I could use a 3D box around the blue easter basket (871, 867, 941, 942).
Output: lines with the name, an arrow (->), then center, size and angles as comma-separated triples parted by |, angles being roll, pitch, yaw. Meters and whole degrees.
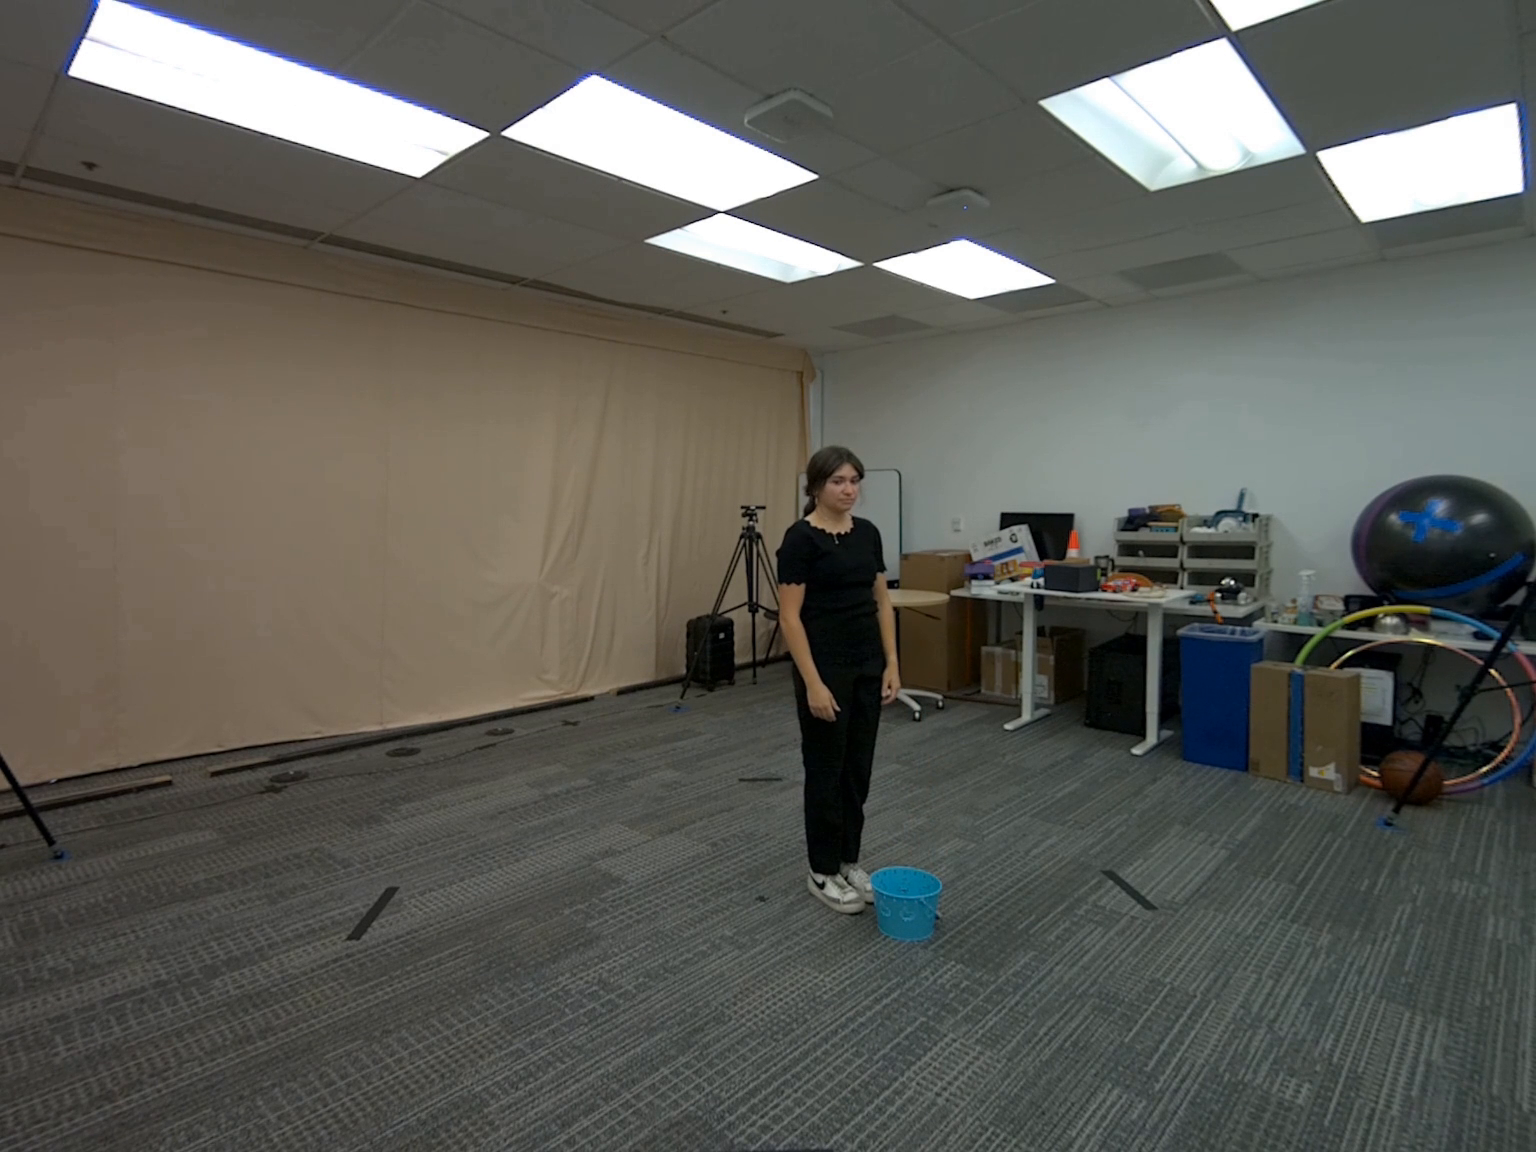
blue easter basket -> 0.460, 1.080, 2.770 | 0.243, 0.155, 0.244 | 0, 4, -2
